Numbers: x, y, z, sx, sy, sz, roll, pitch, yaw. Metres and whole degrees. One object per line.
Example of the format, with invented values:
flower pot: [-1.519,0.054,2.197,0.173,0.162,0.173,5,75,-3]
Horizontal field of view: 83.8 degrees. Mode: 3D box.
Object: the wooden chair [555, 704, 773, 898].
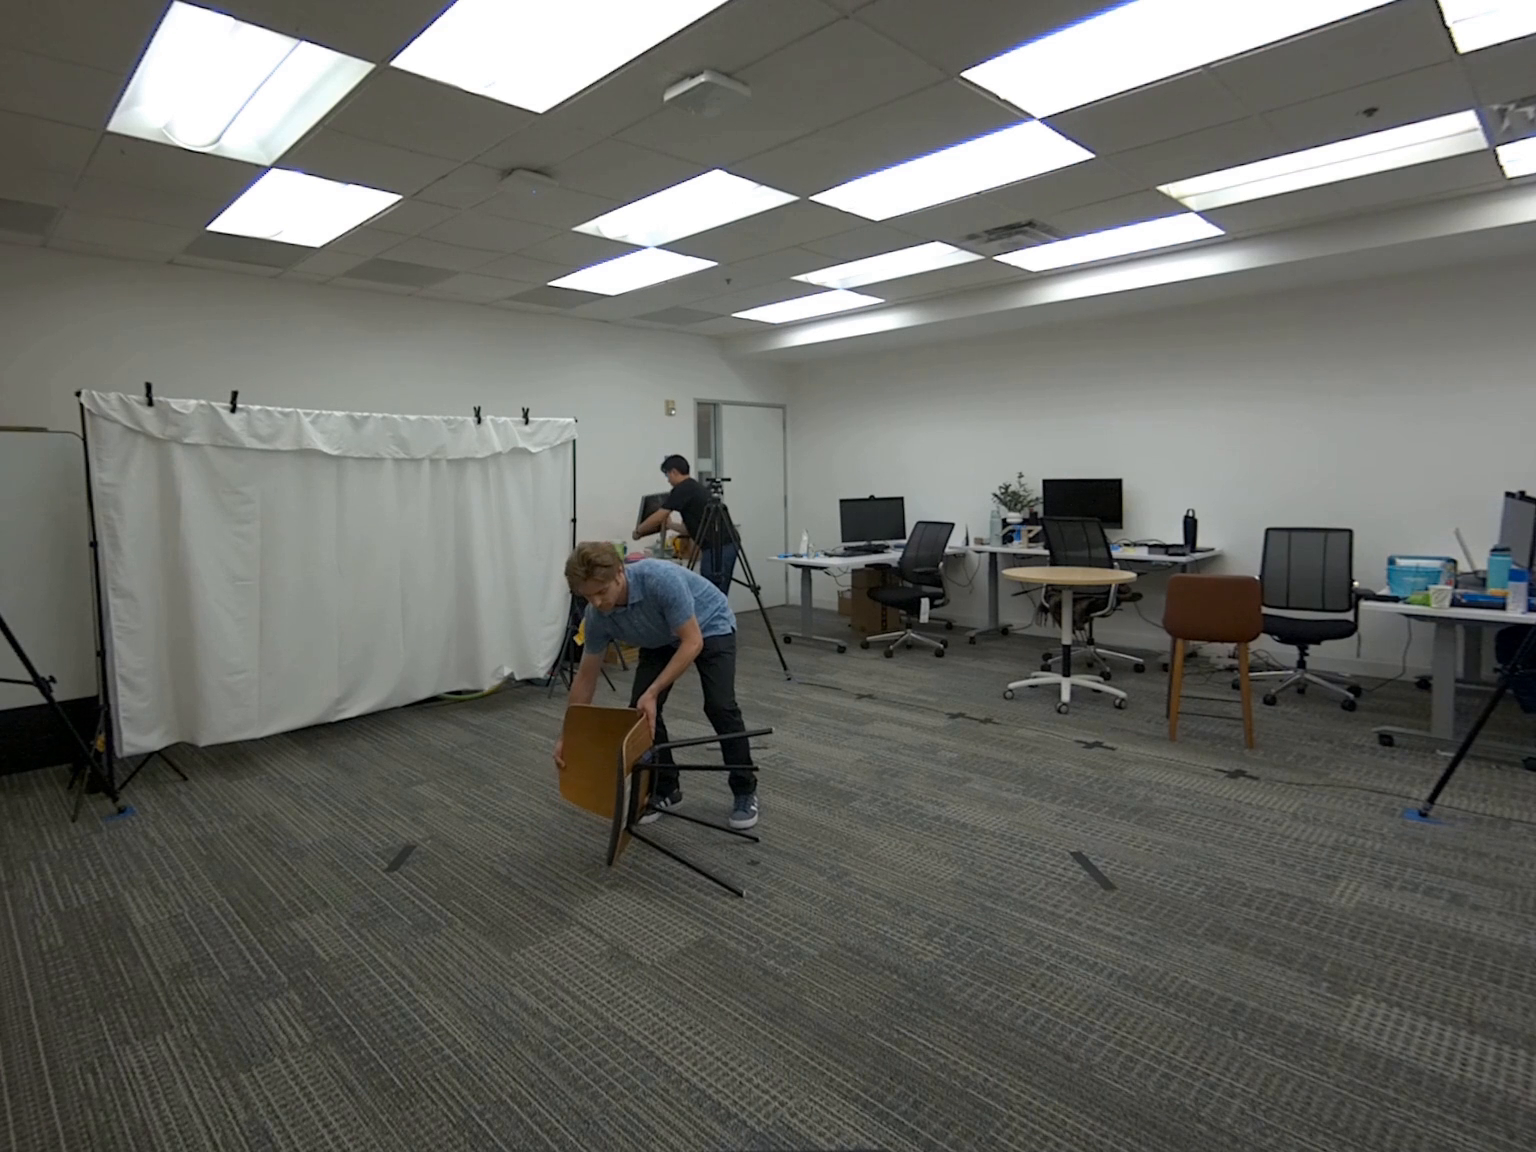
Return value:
wooden chair: [-0.449,0.772,3.106,0.890,0.476,0.518,8,7,12]
